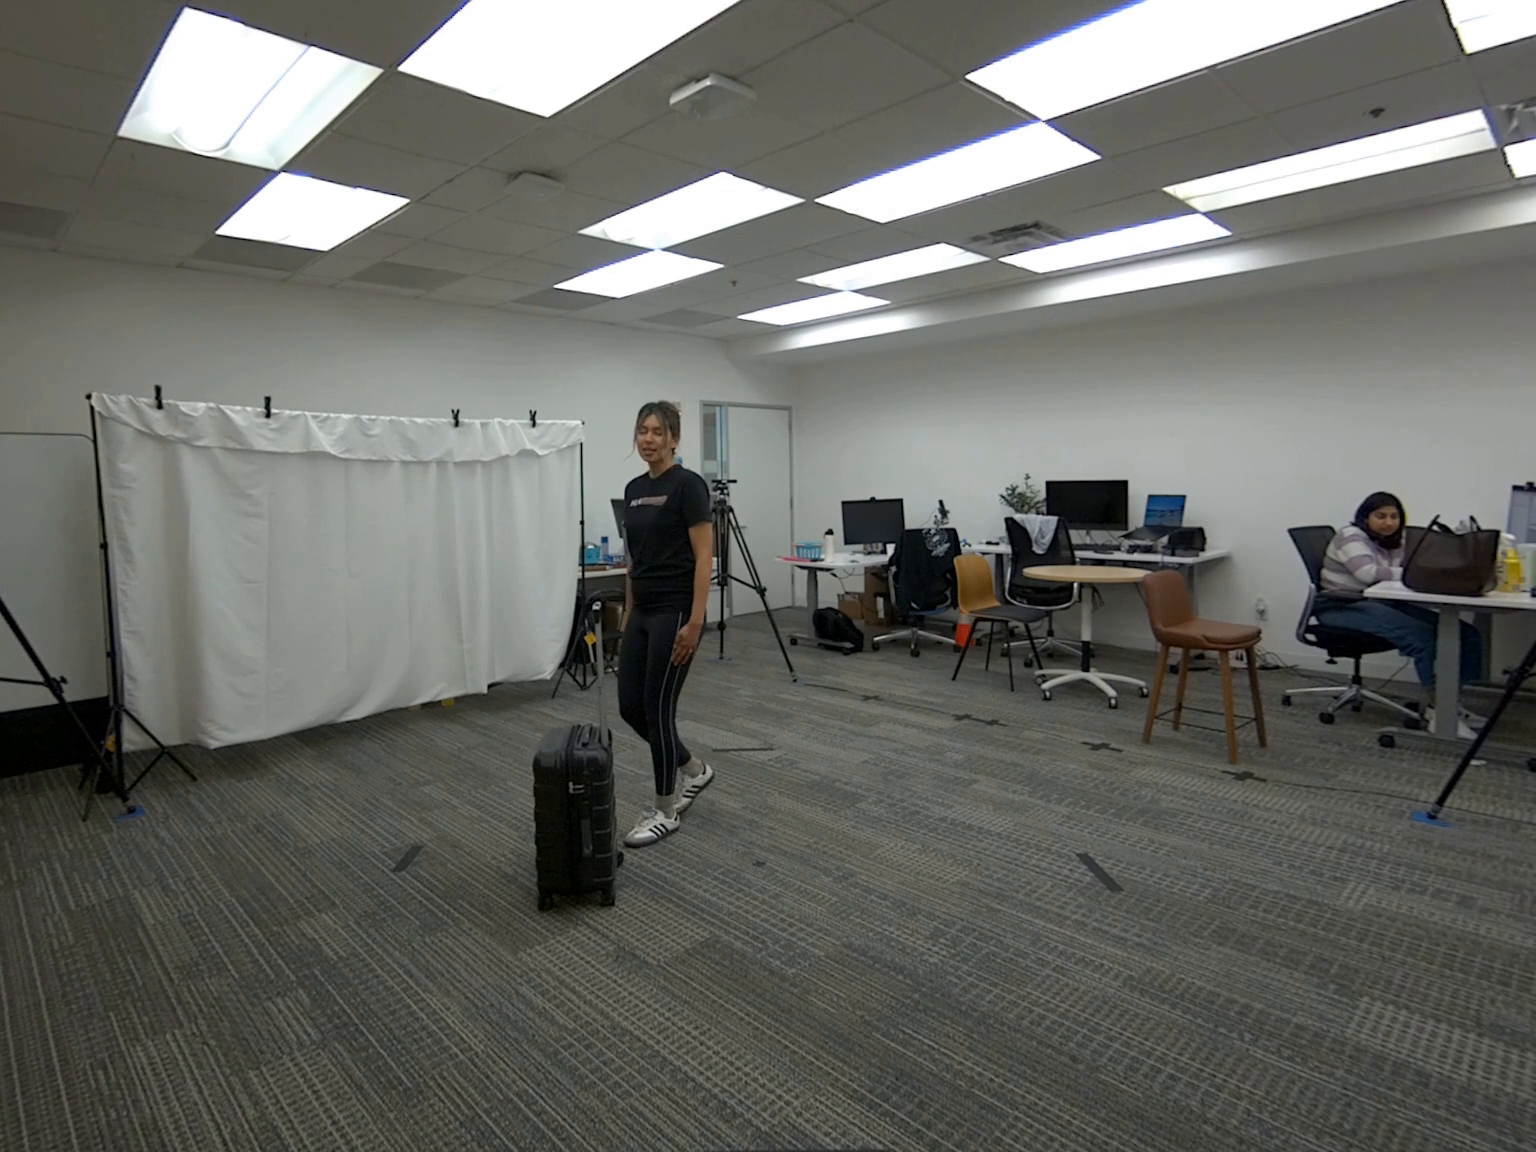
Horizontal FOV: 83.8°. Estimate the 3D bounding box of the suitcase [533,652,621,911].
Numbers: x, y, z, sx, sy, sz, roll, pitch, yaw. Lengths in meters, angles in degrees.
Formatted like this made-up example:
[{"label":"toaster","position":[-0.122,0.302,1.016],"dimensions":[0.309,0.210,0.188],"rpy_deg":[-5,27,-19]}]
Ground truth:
[{"label":"suitcase","position":[-0.666,0.606,2.912],"dimensions":[0.256,0.974,0.387],"rpy_deg":[-3,5,-4]}]
